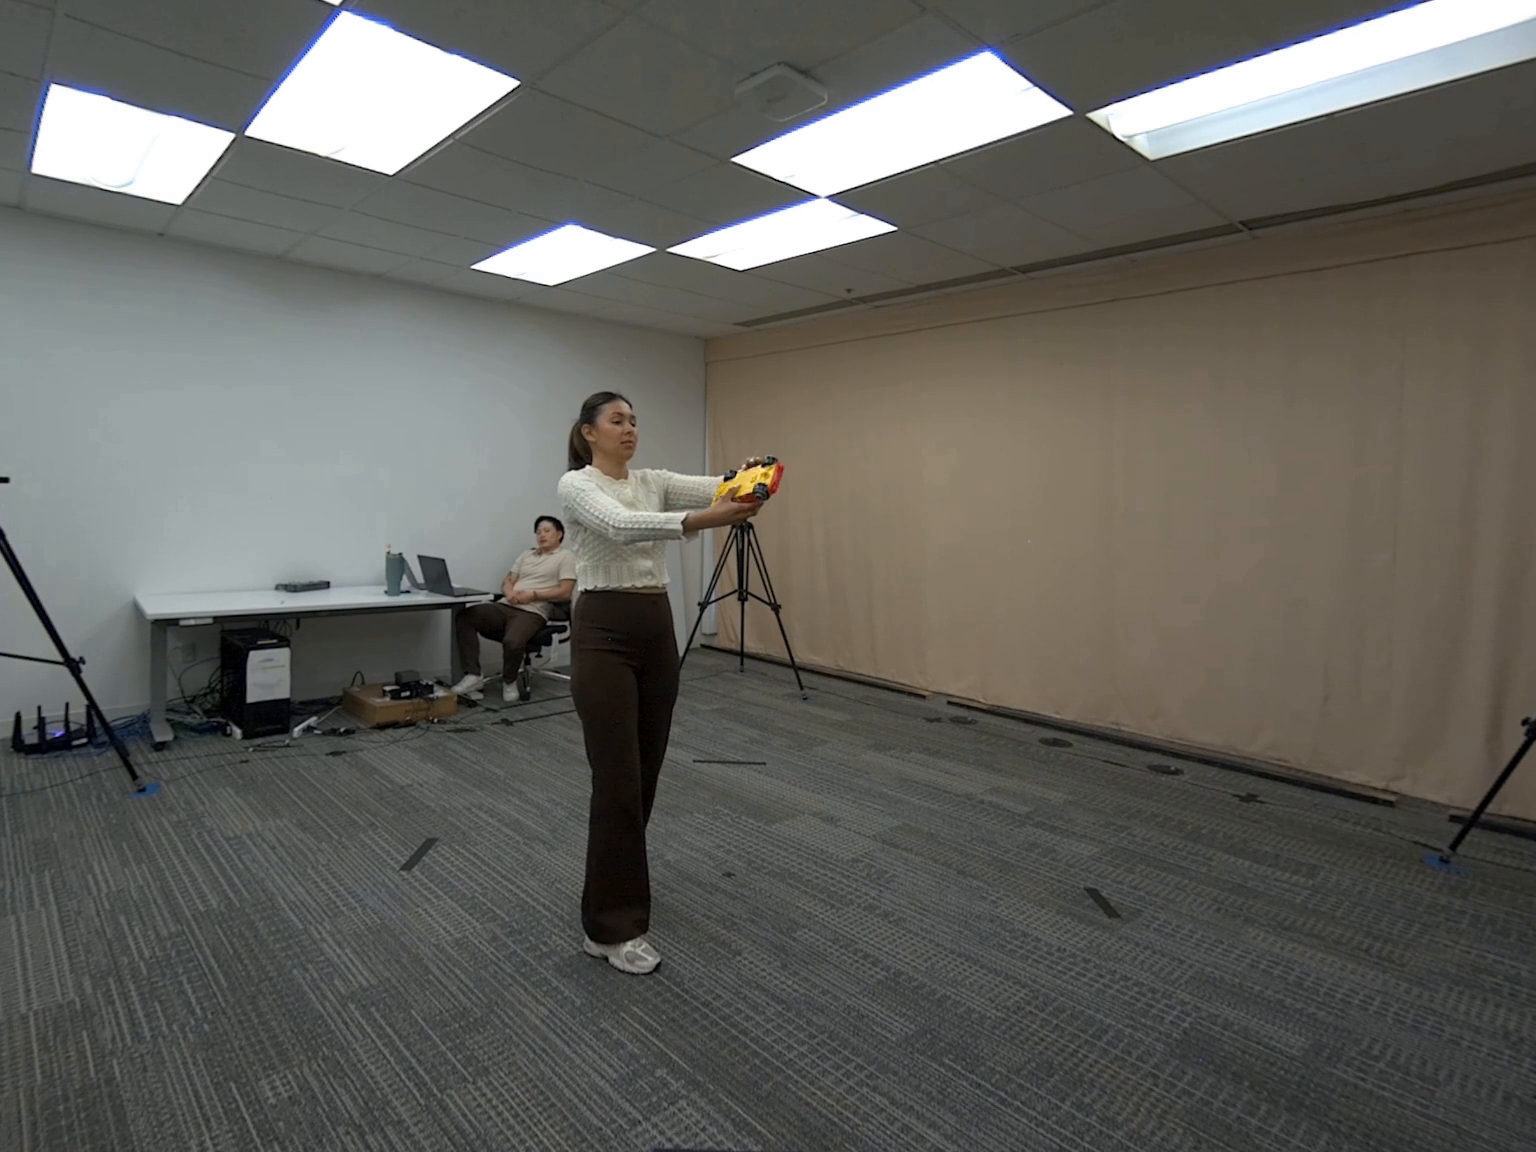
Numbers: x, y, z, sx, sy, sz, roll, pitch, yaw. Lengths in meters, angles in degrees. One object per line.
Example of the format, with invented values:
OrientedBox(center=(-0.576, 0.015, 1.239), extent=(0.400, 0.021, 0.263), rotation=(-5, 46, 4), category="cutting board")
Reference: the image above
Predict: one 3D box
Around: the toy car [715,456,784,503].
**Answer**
OrientedBox(center=(-0.081, -0.227, 2.204), extent=(0.081, 0.132, 0.257), rotation=(31, -31, -23), category="toy car")
